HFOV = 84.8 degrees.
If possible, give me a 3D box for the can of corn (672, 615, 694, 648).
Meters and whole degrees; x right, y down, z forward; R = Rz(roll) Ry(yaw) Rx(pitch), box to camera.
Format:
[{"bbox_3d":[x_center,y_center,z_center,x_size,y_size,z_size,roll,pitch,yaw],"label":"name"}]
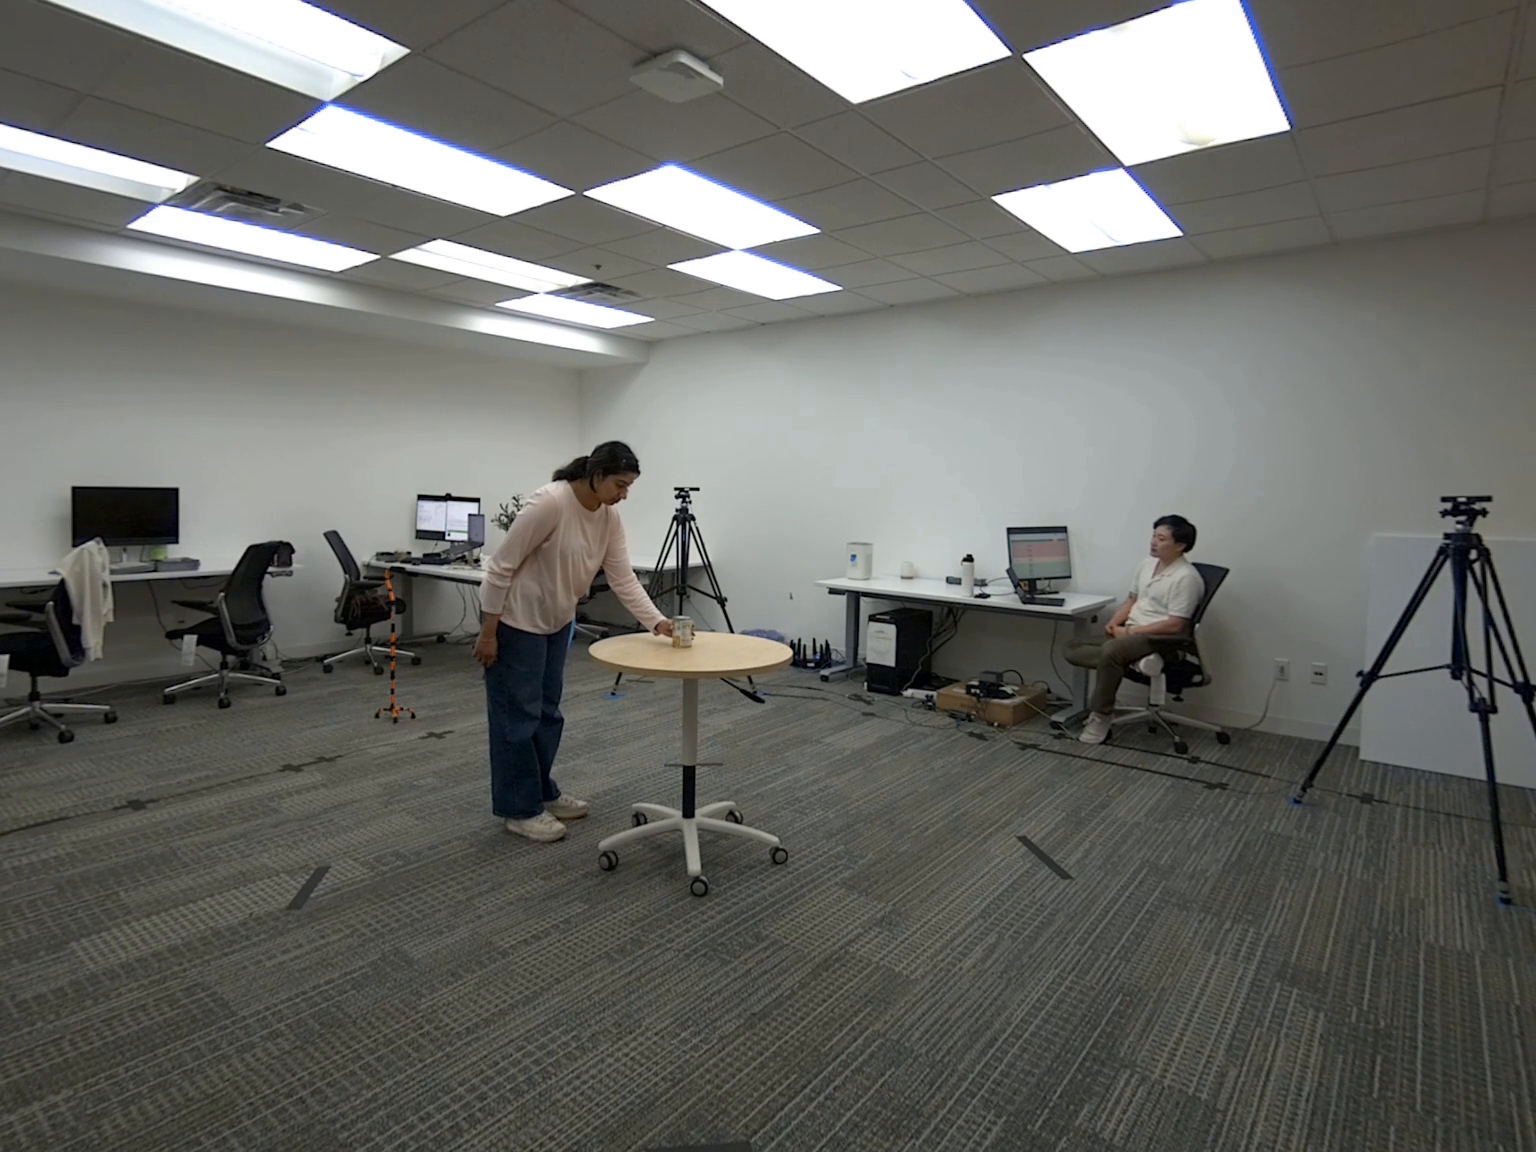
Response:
[{"bbox_3d":[-0.338,0.208,3.246,0.074,0.110,0.074,1,5,-2],"label":"can of corn"}]
